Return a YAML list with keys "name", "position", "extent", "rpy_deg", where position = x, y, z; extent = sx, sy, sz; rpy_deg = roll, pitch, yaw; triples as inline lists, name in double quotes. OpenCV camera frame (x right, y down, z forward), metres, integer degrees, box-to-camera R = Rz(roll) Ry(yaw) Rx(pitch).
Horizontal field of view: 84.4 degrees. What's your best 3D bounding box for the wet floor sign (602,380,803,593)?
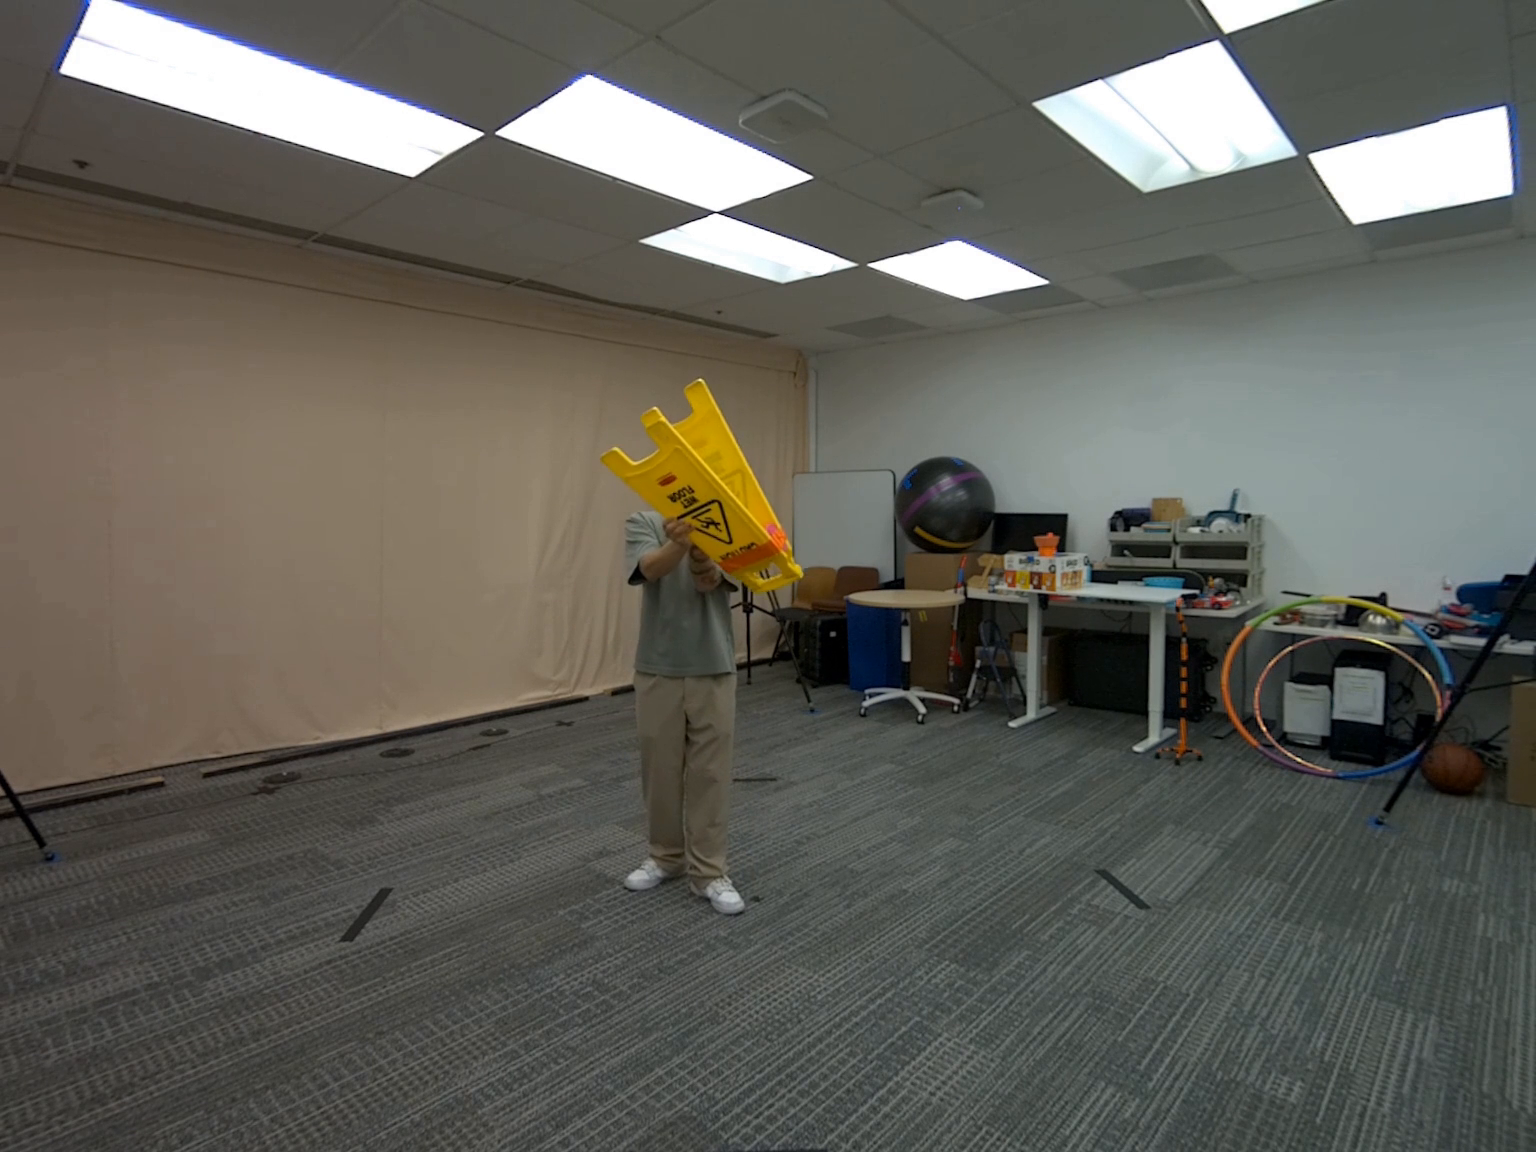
- name: "wet floor sign"
  position: [-0.142, -0.205, 2.486]
  extent: [0.288, 0.634, 0.289]
  rpy_deg: [-23, 23, 41]
